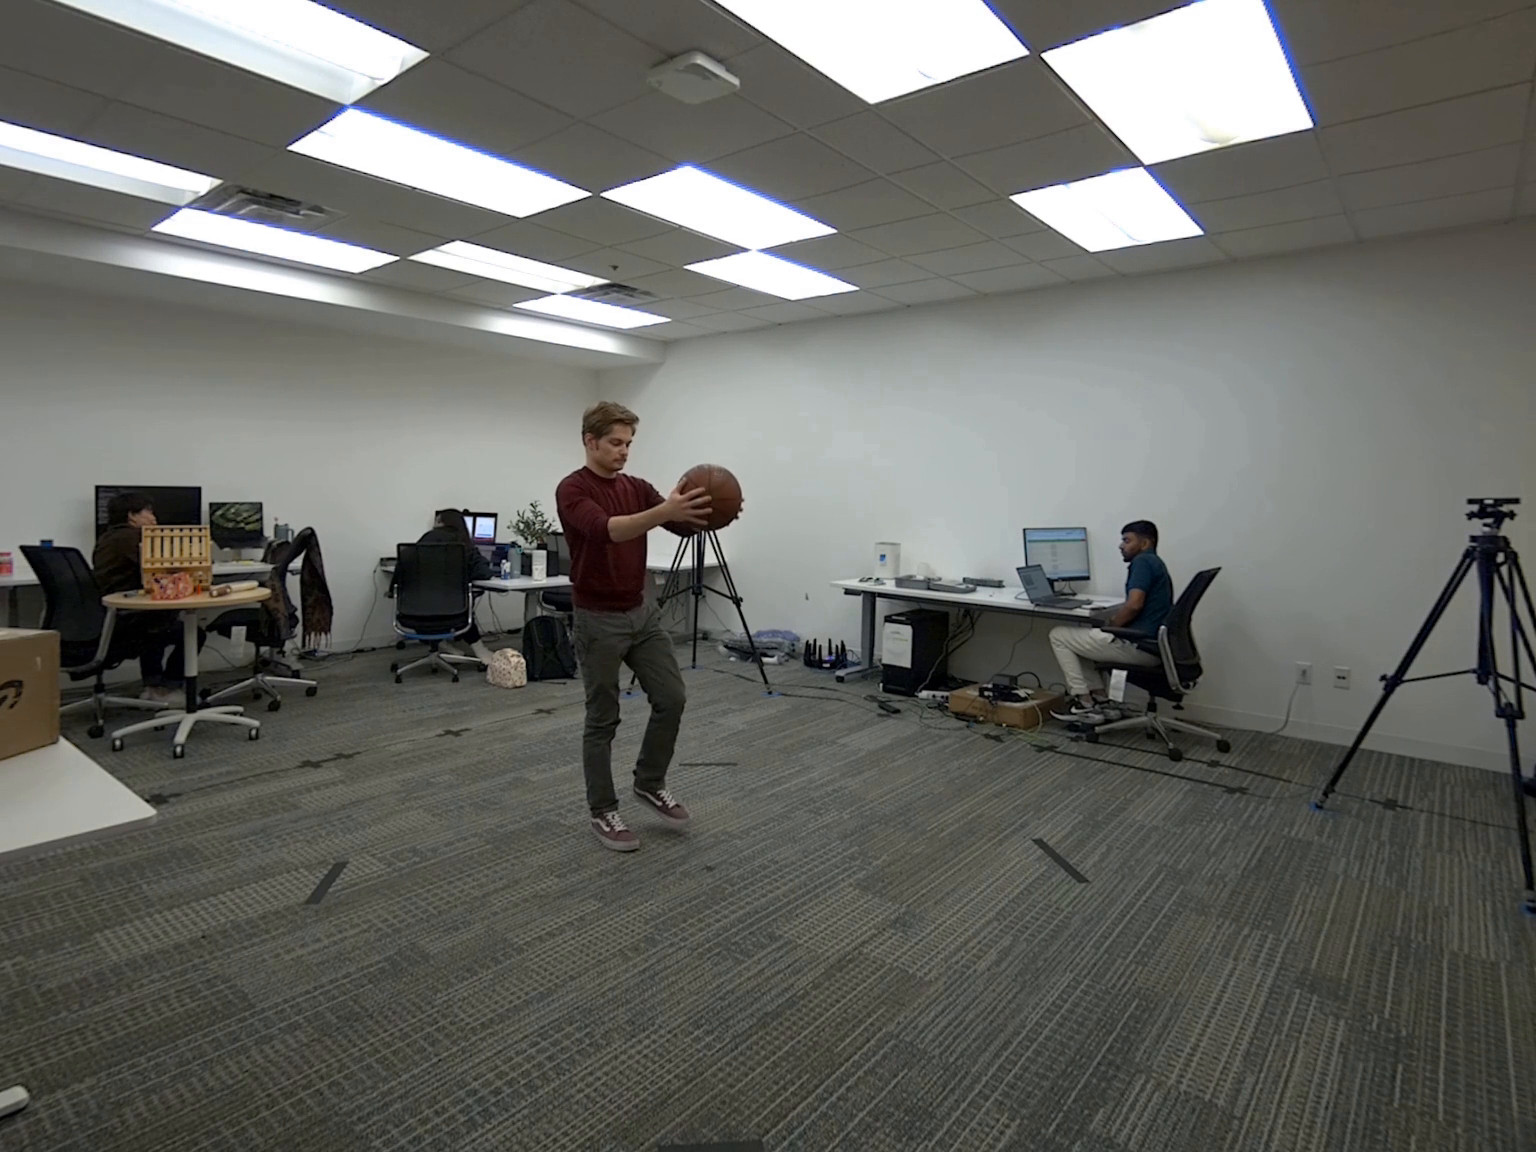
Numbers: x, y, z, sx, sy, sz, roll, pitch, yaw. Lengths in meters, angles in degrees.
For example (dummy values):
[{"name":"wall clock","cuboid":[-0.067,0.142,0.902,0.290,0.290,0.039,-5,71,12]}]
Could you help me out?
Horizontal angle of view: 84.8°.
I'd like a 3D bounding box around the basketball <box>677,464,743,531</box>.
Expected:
[{"name":"basketball","cuboid":[-0.218,-0.277,3.002,0.235,0.235,0.237,1,4,-2]}]
